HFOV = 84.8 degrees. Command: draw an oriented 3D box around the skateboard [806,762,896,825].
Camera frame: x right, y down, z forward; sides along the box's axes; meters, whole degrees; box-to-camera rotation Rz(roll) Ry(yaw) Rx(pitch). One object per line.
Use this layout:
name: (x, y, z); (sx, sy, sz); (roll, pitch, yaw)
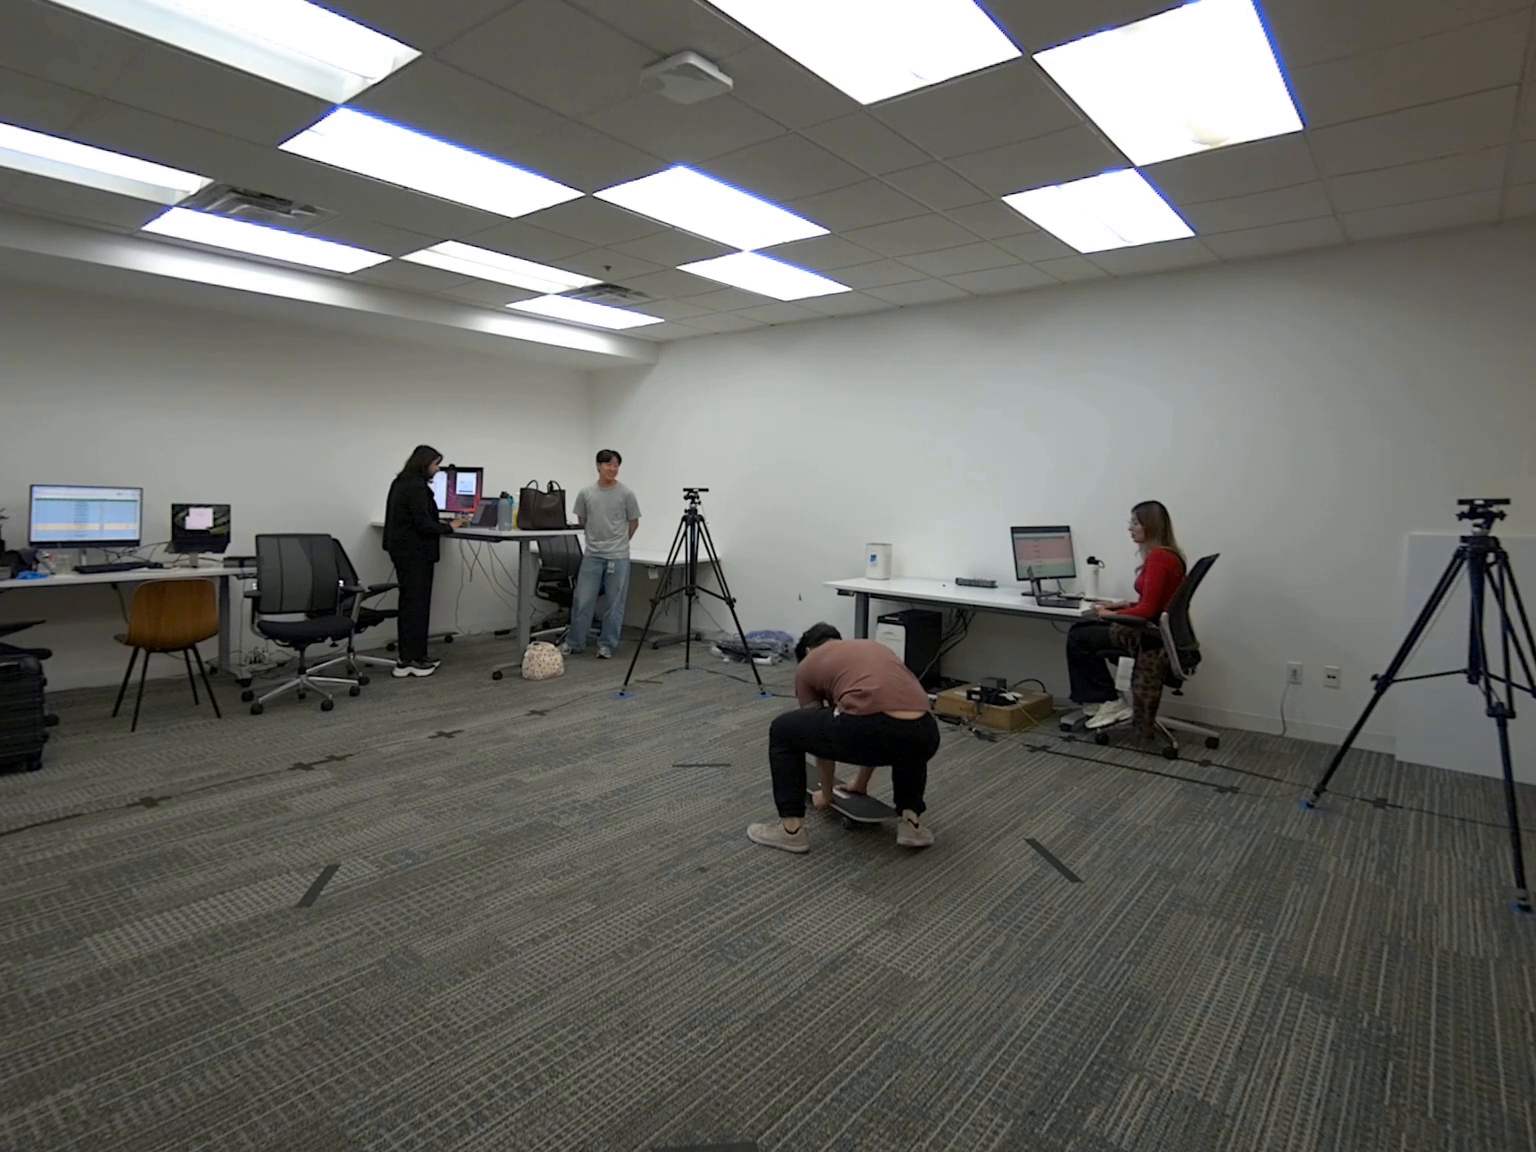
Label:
skateboard: (0.281, 0.966, 3.727); (0.189, 0.110, 0.809); (-5, 8, -29)
